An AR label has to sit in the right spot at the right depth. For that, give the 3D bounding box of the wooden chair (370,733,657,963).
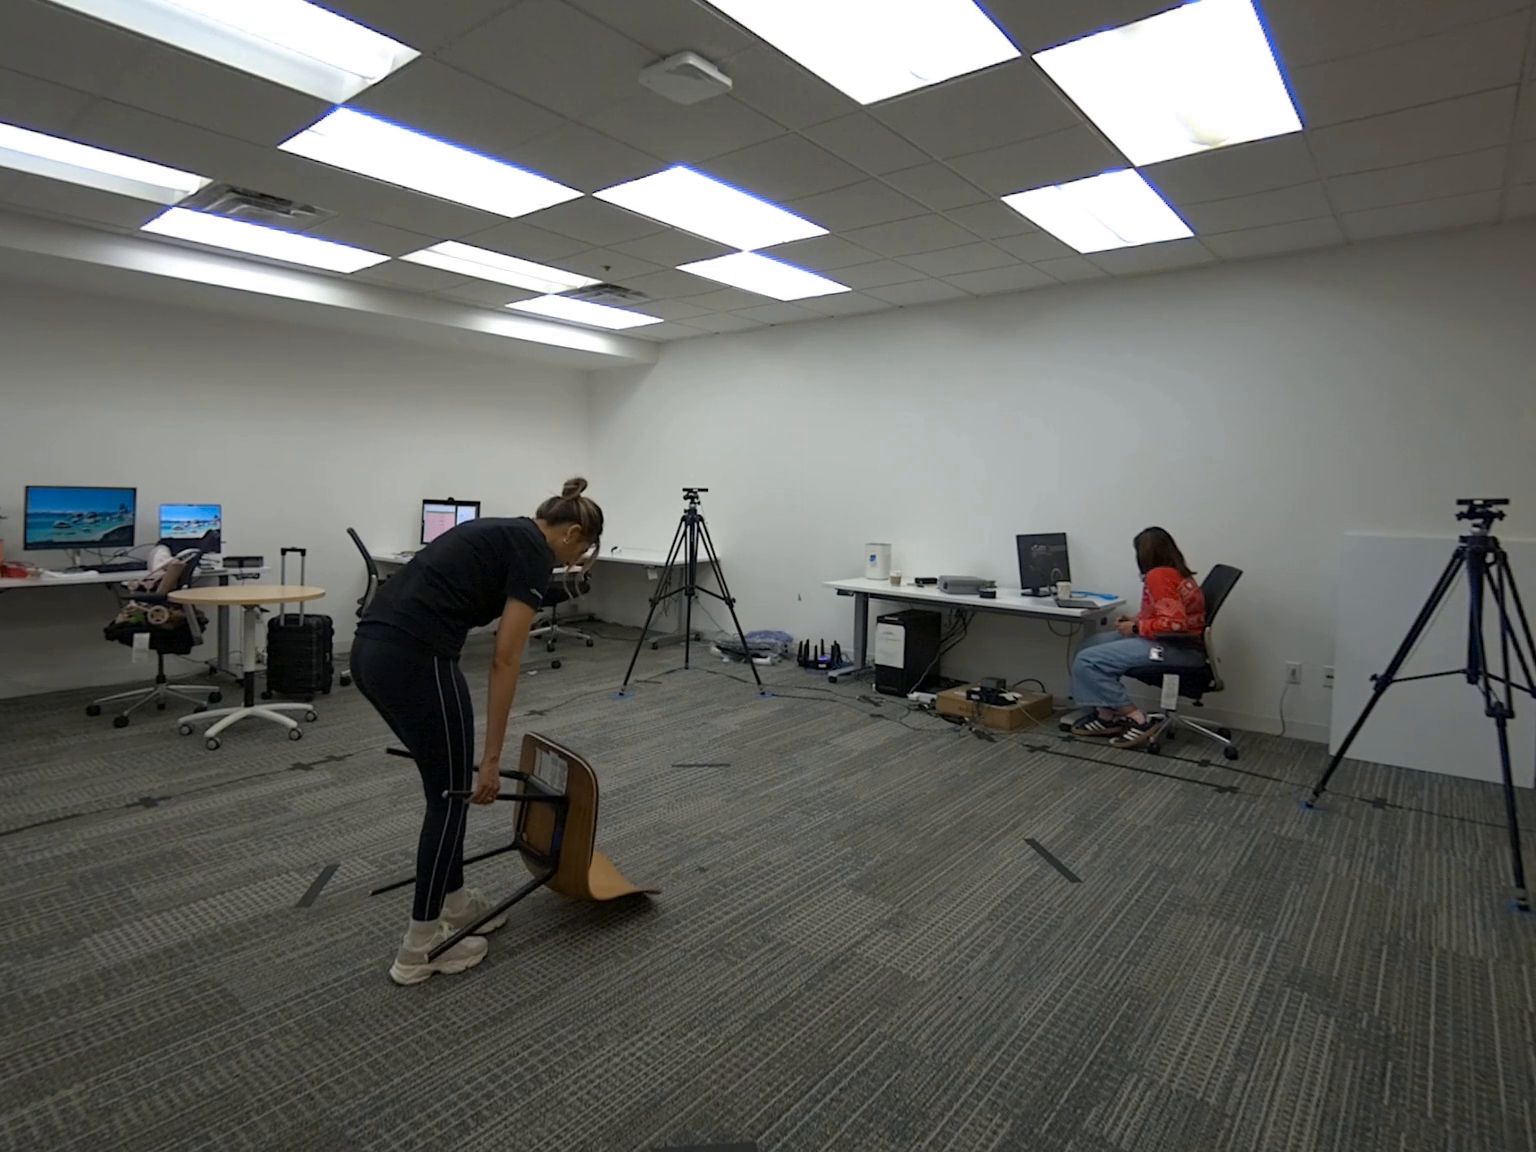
[{"bbox_3d":[-0.728,0.779,2.678,0.846,0.524,0.495,10,-2,-43],"label":"wooden chair"}]
